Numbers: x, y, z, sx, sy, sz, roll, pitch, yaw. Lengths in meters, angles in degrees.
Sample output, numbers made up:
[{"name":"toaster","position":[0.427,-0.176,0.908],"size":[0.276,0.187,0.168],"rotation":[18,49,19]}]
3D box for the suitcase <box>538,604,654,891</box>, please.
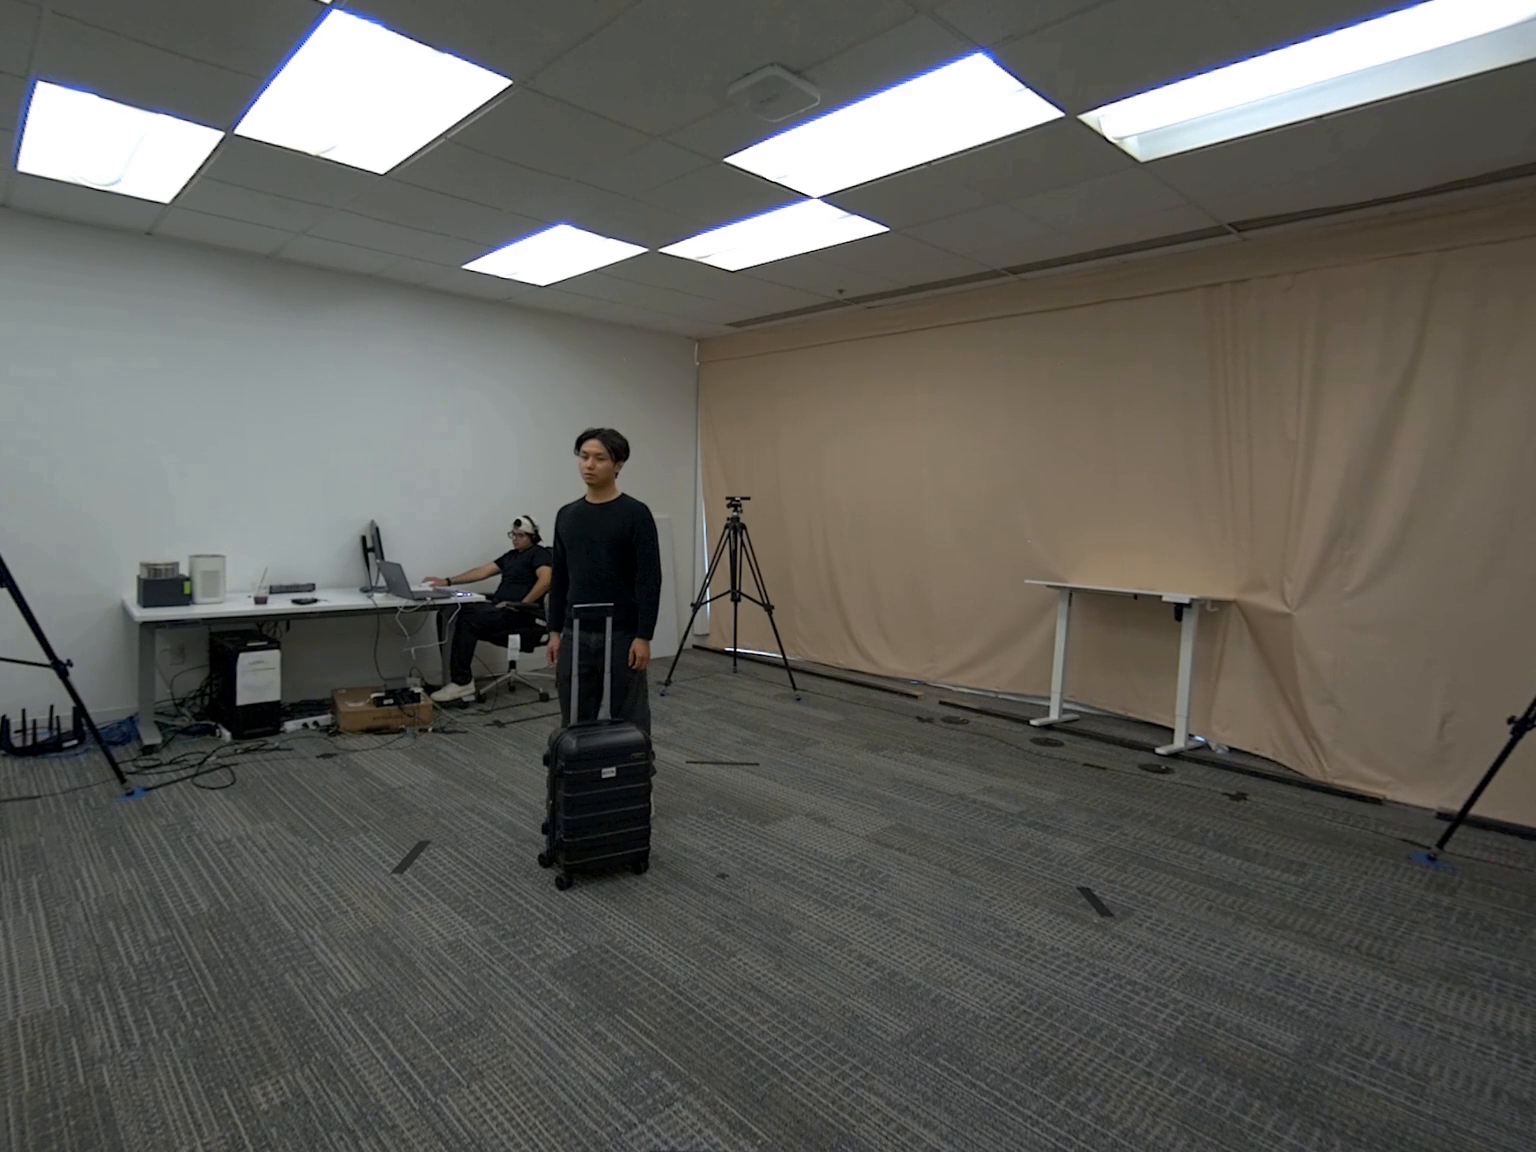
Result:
[{"name":"suitcase","position":[-0.621,0.623,3.090],"size":[0.376,0.975,0.263],"rotation":[0,6,-31]}]
